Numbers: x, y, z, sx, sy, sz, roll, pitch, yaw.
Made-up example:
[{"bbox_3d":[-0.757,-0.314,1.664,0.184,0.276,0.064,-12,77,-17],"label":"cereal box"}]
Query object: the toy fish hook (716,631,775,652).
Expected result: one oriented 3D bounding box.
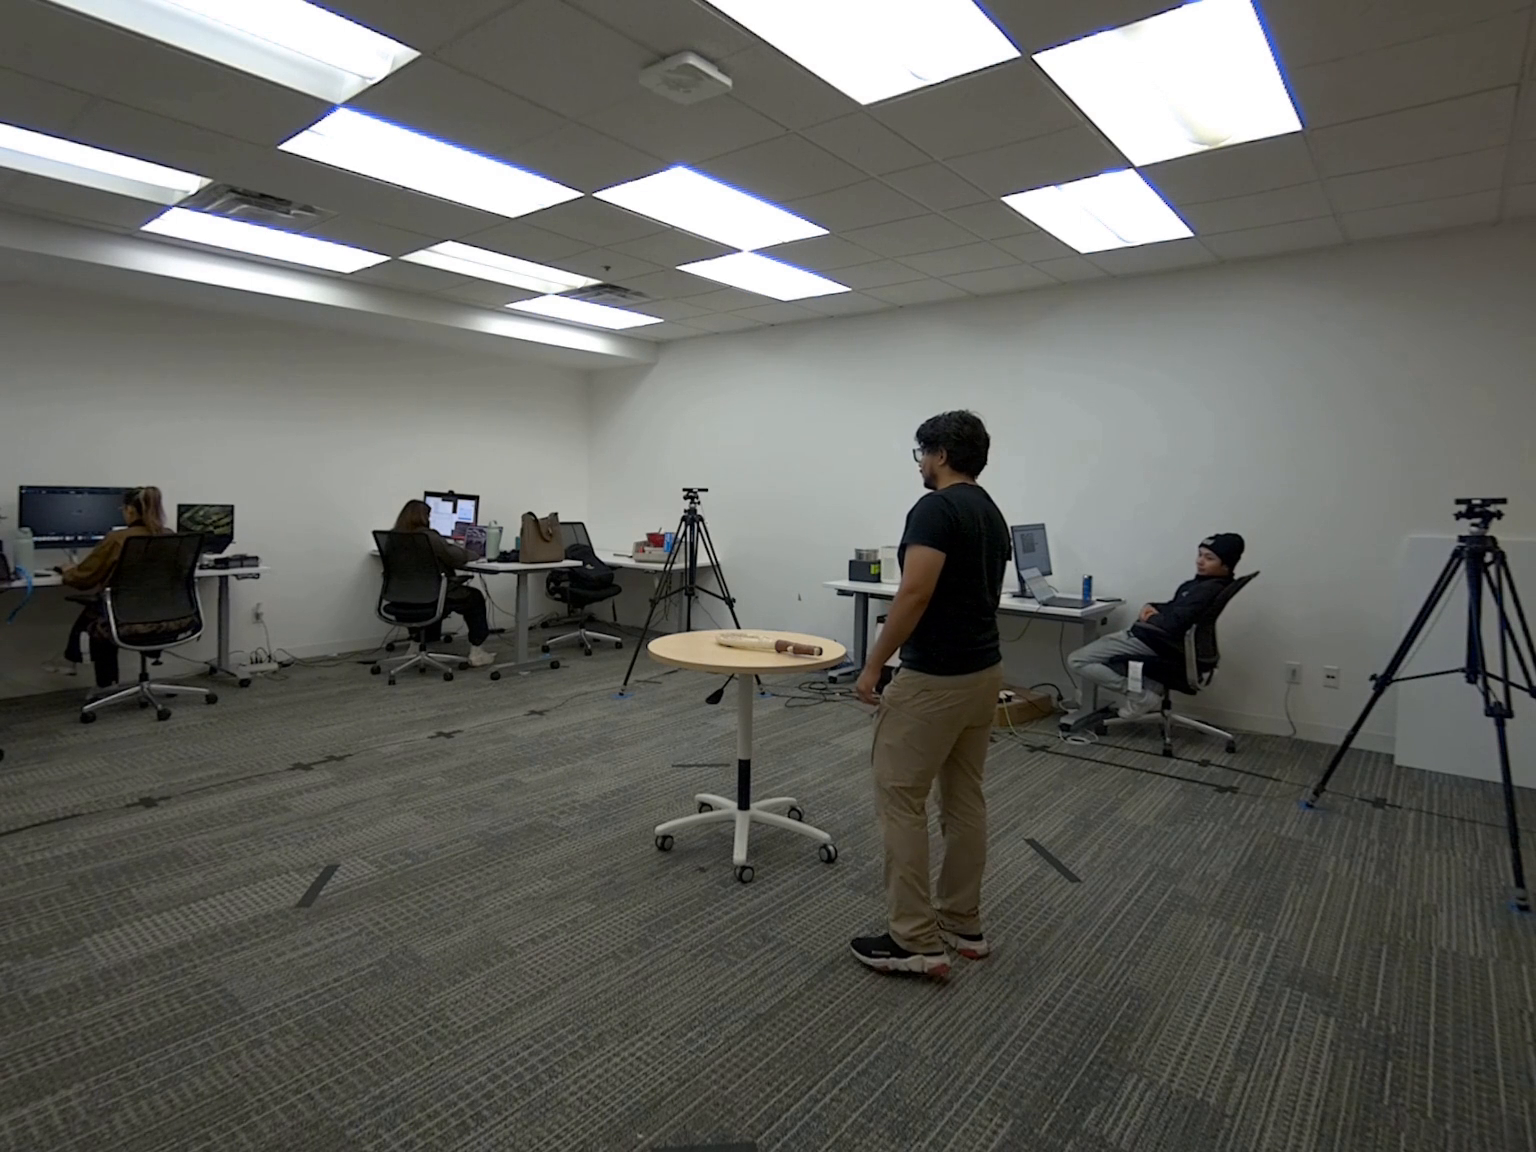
[{"bbox_3d":[0.014,0.253,3.262,0.524,0.048,0.218,5,8,39],"label":"toy fish hook"}]
